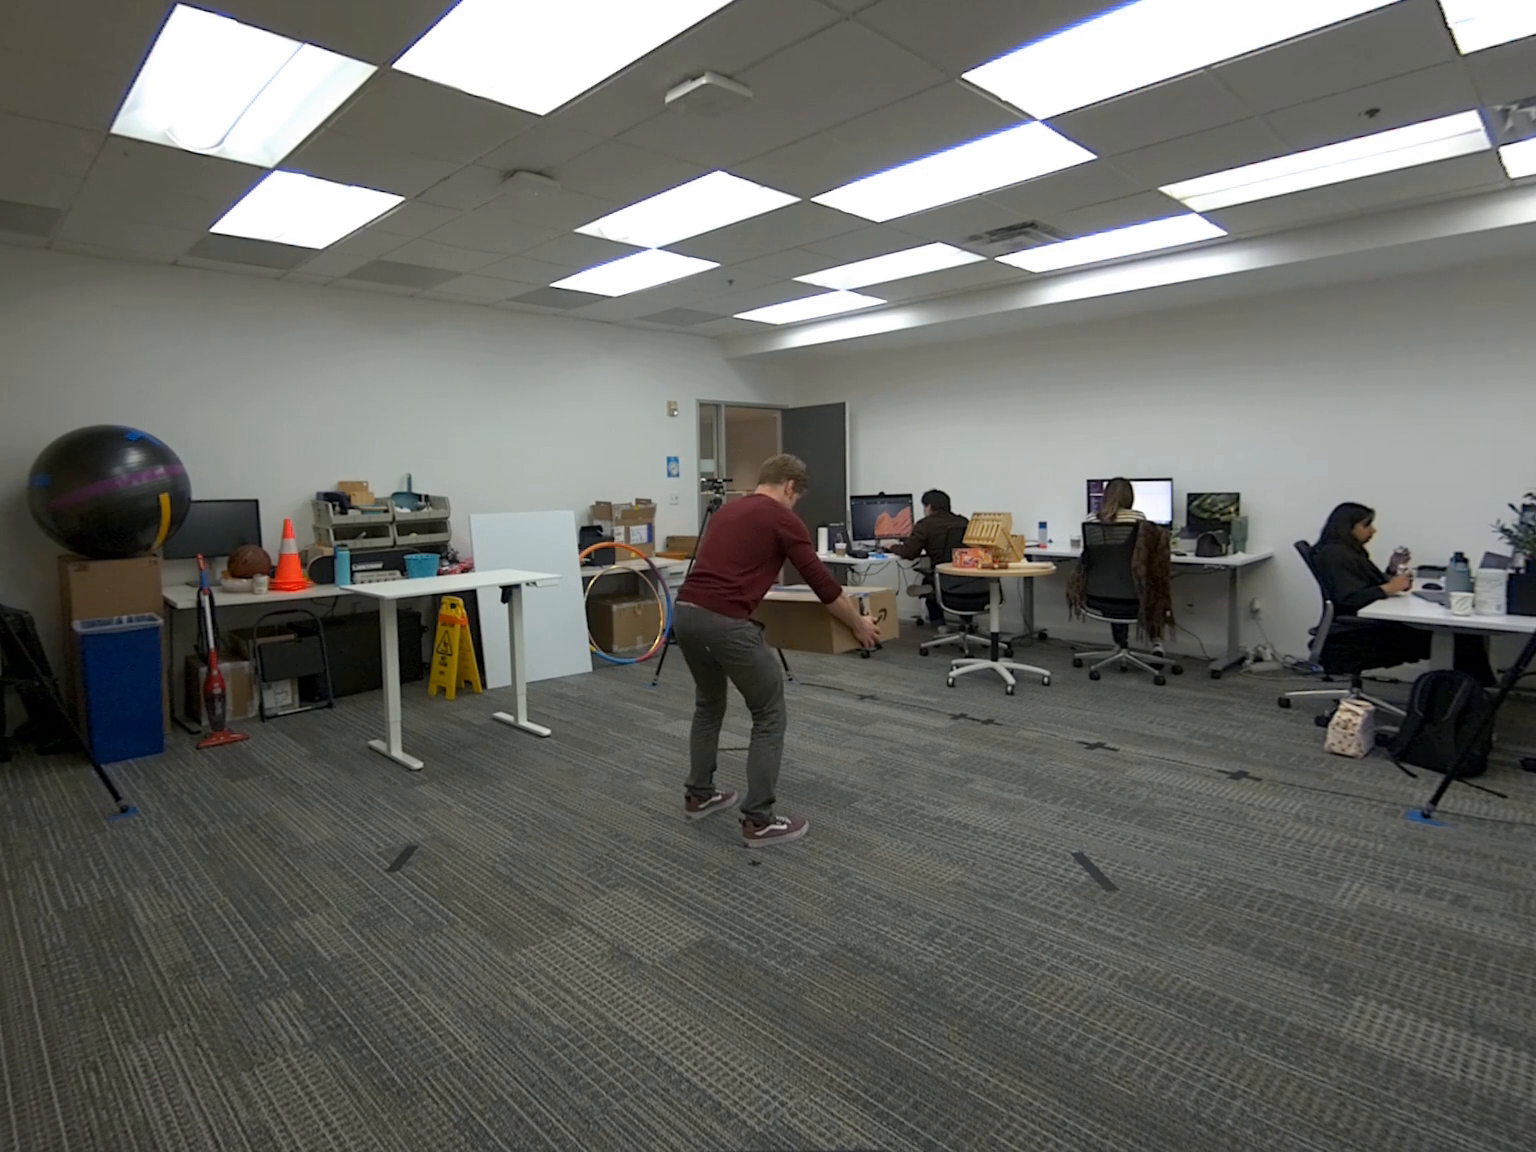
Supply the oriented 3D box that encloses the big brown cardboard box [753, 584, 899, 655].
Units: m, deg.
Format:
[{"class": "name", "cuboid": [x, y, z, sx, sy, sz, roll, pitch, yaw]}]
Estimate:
[{"class": "big brown cardboard box", "cuboid": [0.208, 0.187, 3.757, 0.407, 0.232, 0.606, -9, 8, -42]}]
